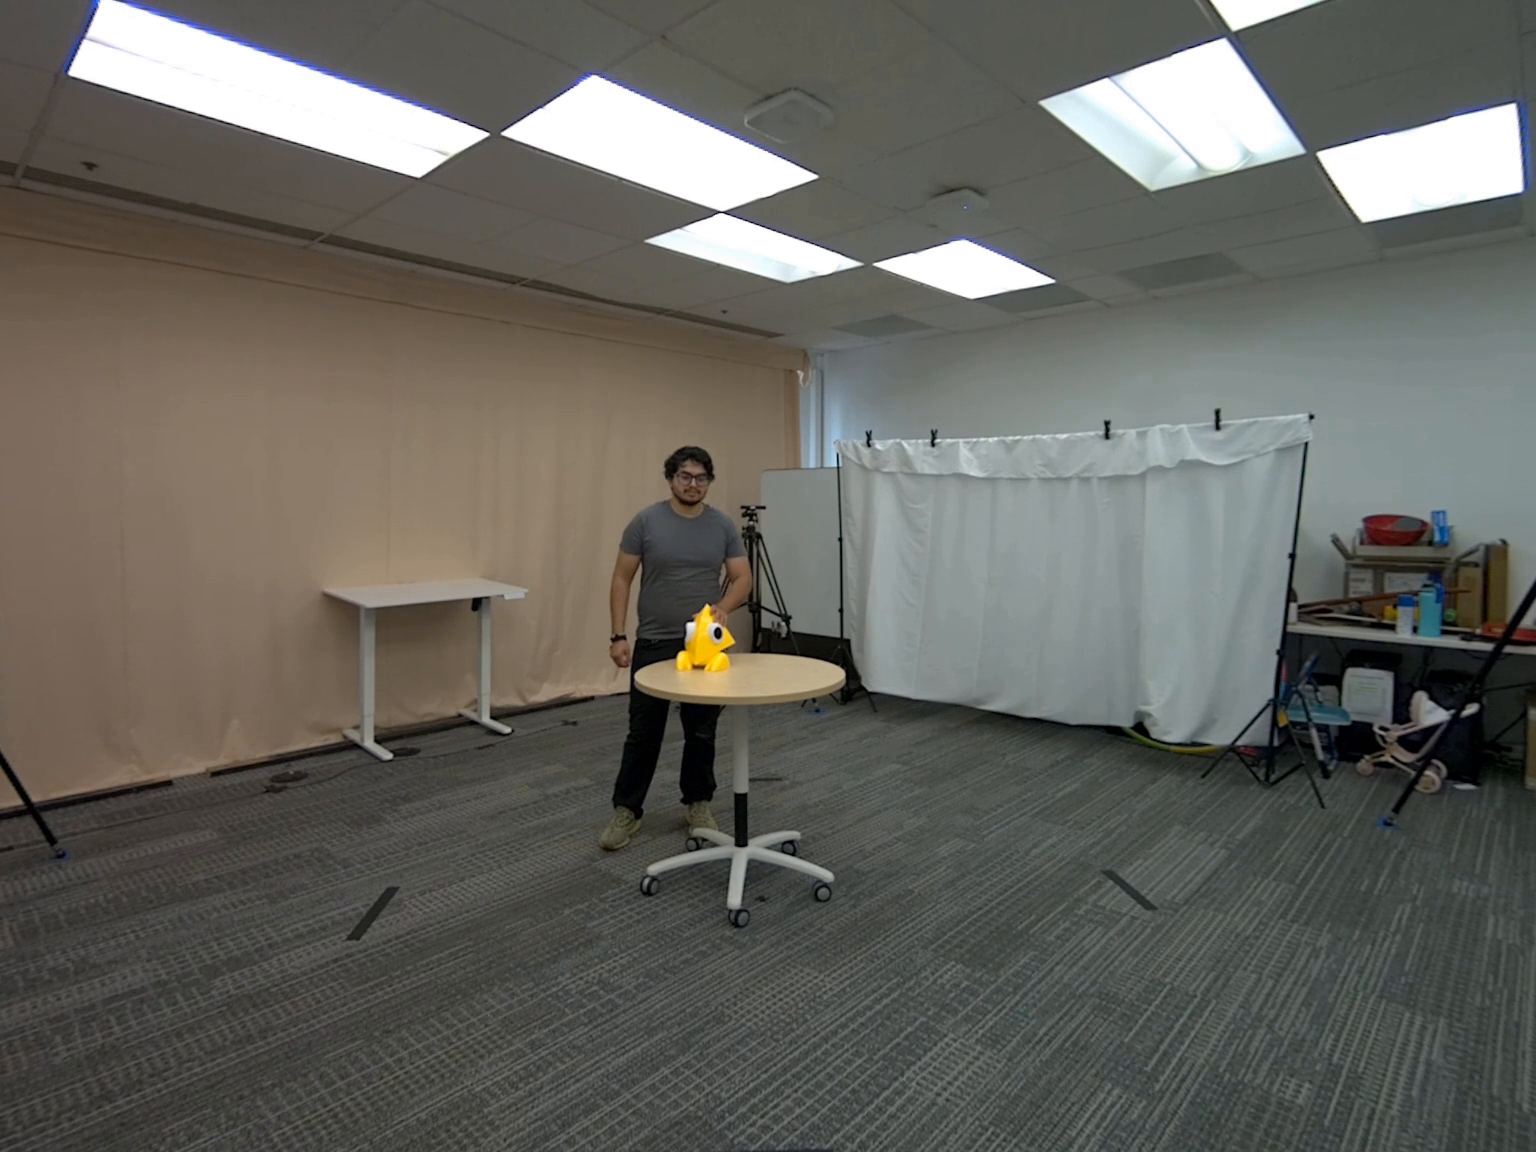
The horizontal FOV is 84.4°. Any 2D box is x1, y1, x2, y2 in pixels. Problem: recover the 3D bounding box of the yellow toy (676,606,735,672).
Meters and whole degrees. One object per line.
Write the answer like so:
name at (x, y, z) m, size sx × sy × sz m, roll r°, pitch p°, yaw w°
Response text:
yellow toy at (-0.245, 0.230, 3.201) m, size 0.208 × 0.230 × 0.190 m, roll -2°, pitch 2°, yaw 15°
